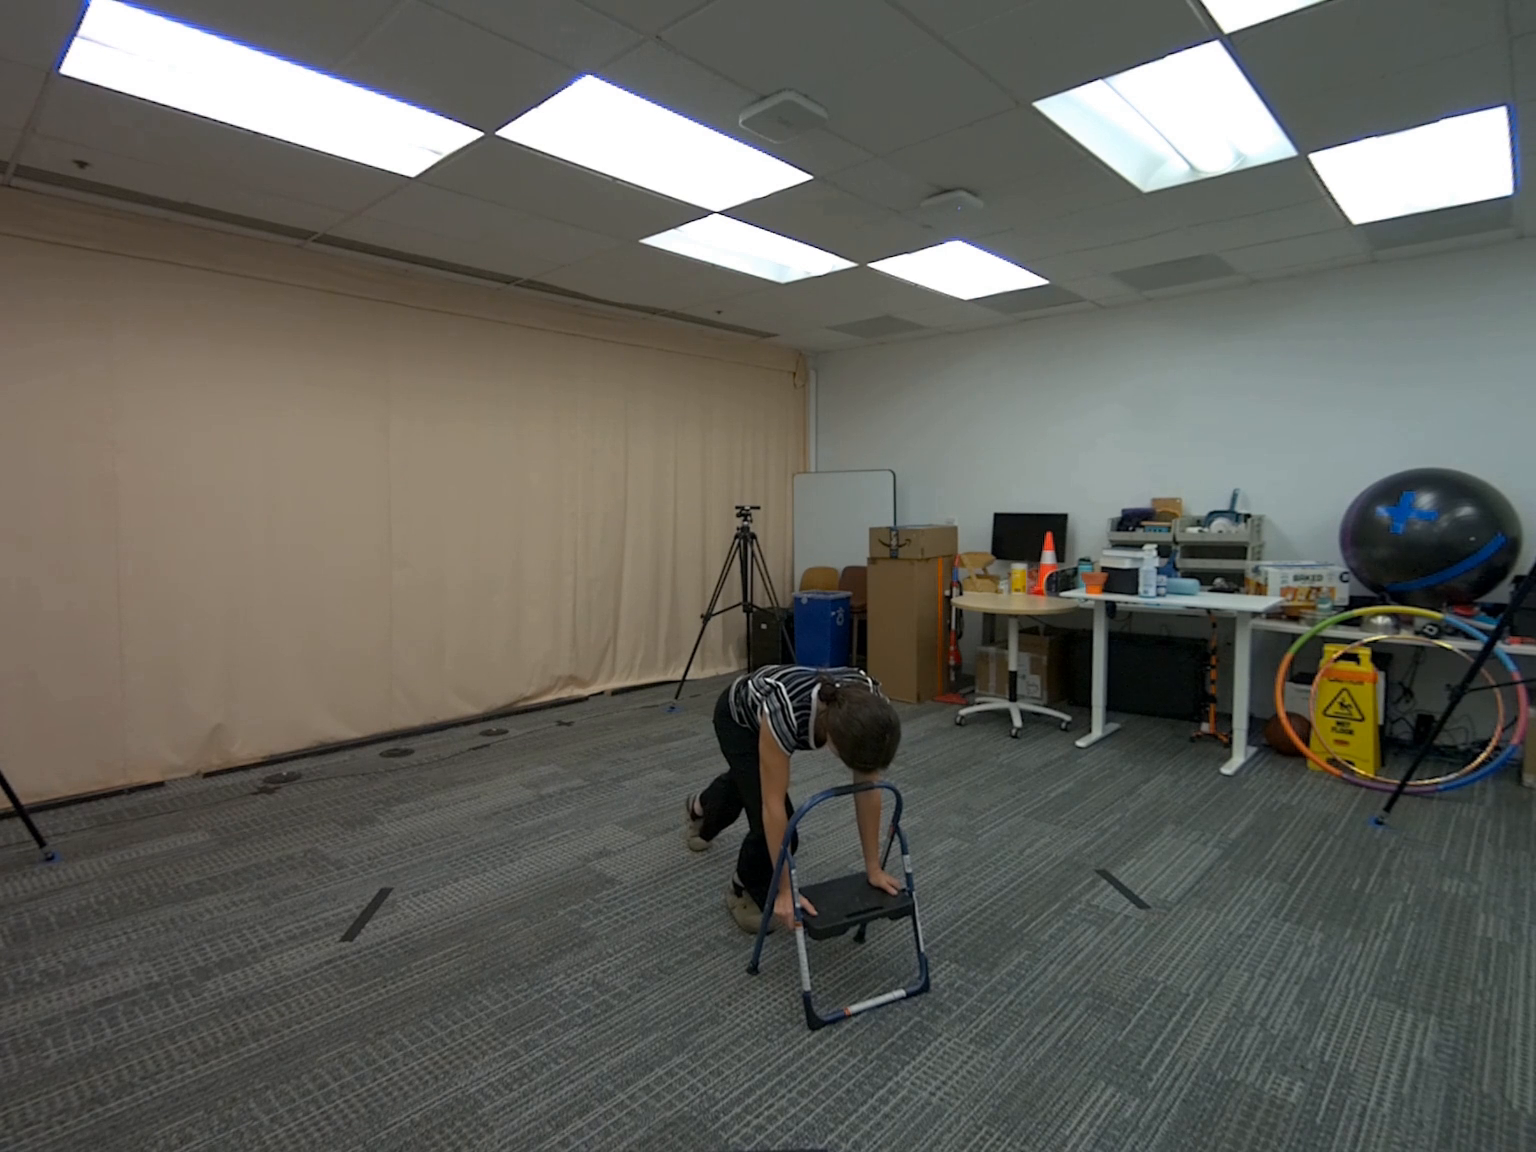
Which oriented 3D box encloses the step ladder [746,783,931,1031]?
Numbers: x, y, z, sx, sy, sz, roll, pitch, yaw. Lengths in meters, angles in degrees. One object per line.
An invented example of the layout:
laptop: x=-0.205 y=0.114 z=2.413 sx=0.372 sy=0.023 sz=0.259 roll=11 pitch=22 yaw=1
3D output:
step ladder: x=0.213 y=0.888 z=2.454 sx=0.419 sy=0.605 sz=0.359 roll=-2 pitch=4 yaw=-30
